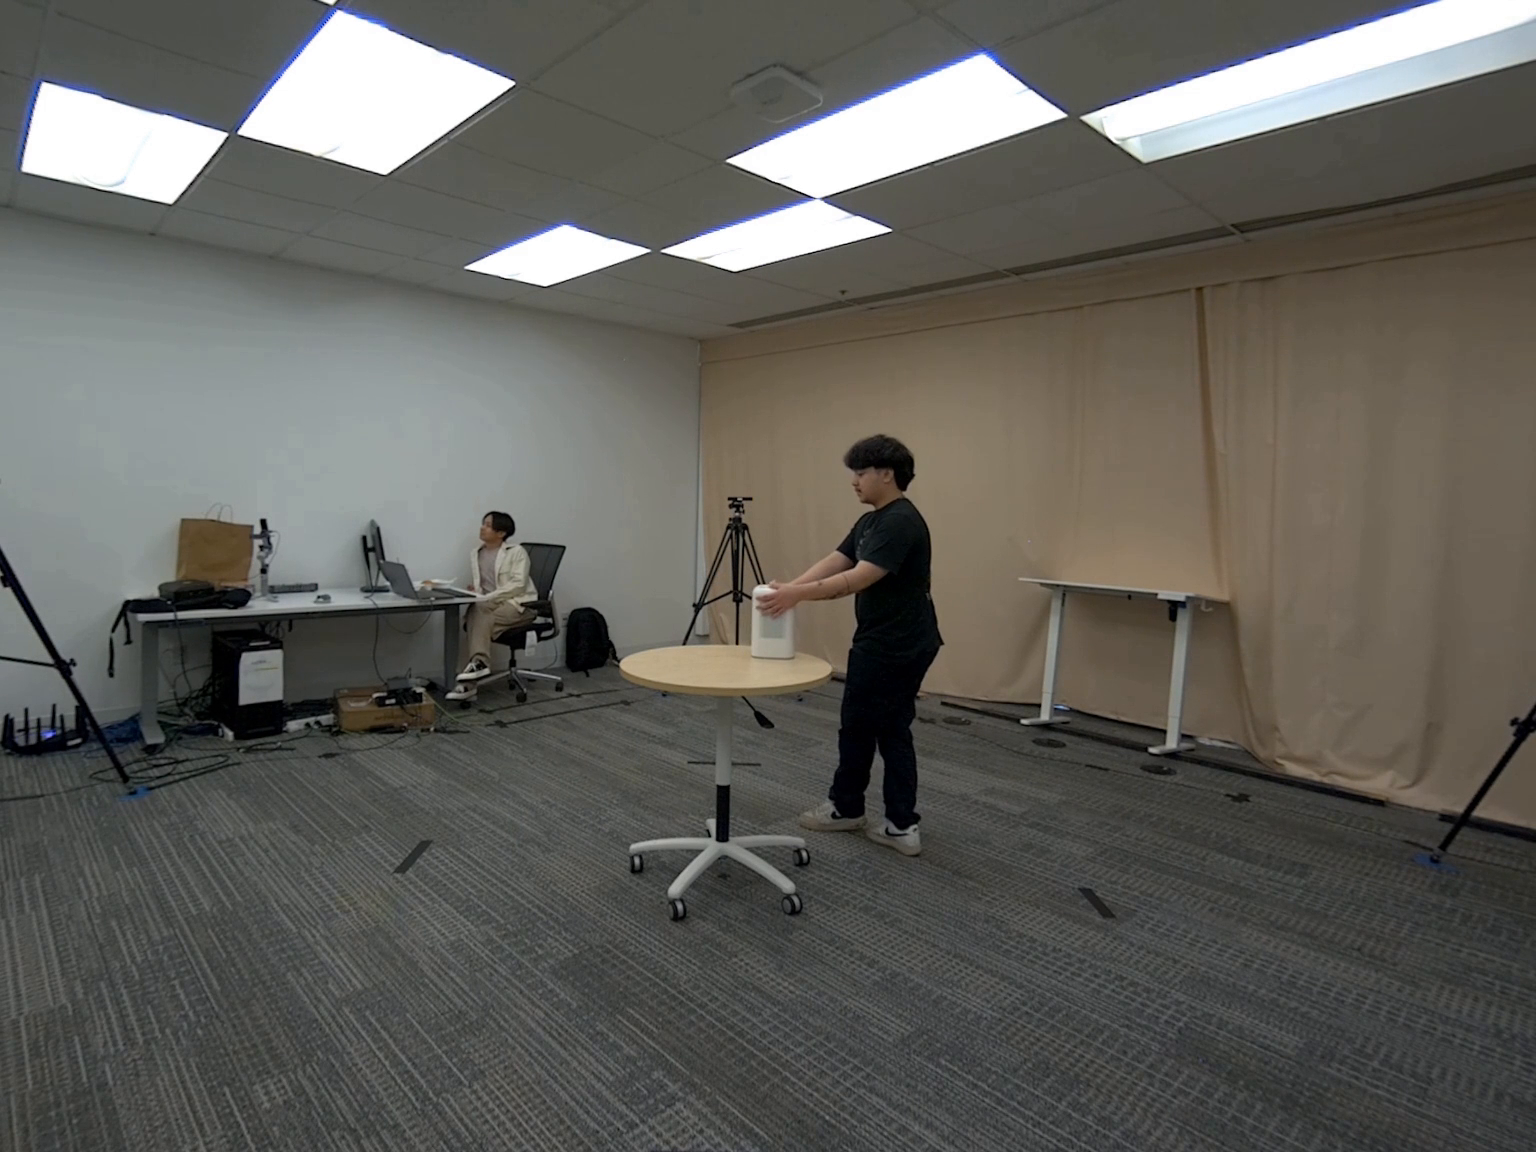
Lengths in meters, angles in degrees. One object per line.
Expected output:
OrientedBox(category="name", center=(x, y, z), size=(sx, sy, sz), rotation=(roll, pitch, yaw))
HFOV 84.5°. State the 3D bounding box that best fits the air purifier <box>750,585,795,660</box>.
OrientedBox(category="air purifier", center=(0.014, 0.176, 3.237), size=(0.172, 0.265, 0.171), rotation=(2, 2, 2))
